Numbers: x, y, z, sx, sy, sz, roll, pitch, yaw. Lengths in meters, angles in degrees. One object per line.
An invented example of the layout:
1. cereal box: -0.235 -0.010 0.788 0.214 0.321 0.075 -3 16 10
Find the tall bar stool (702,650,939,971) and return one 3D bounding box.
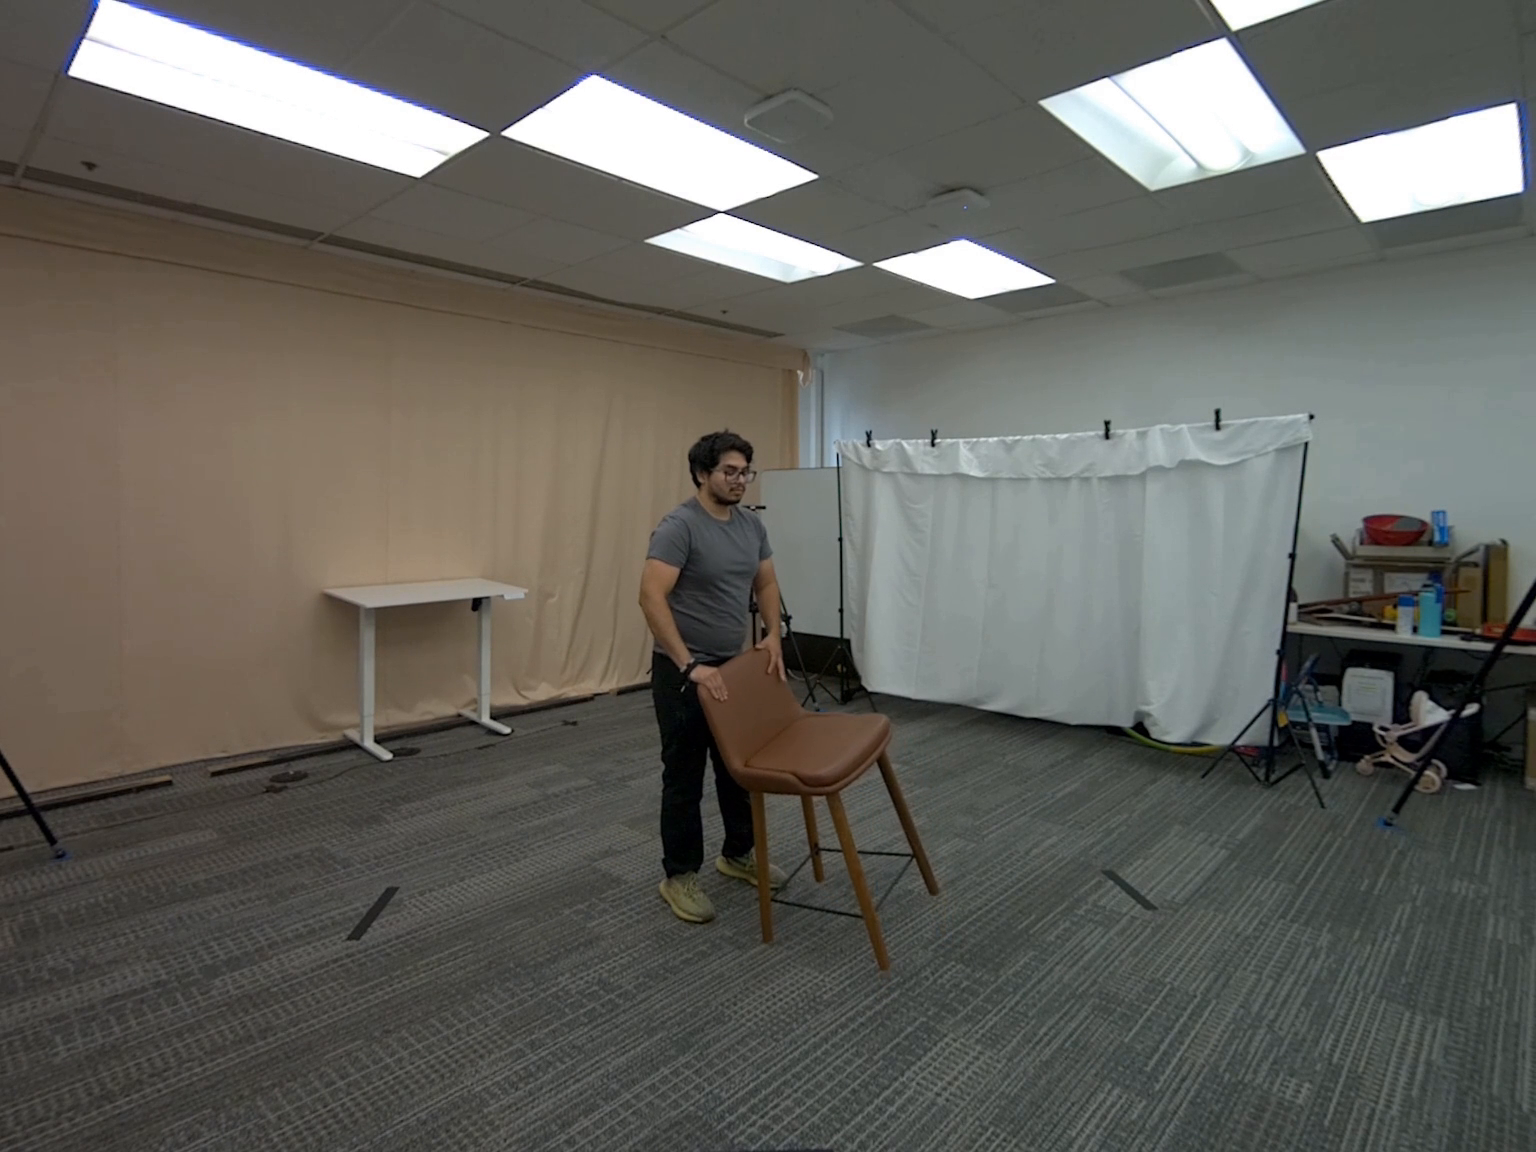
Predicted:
1. tall bar stool: 0.158 0.683 2.648 0.480 0.885 0.447 -11 8 37
